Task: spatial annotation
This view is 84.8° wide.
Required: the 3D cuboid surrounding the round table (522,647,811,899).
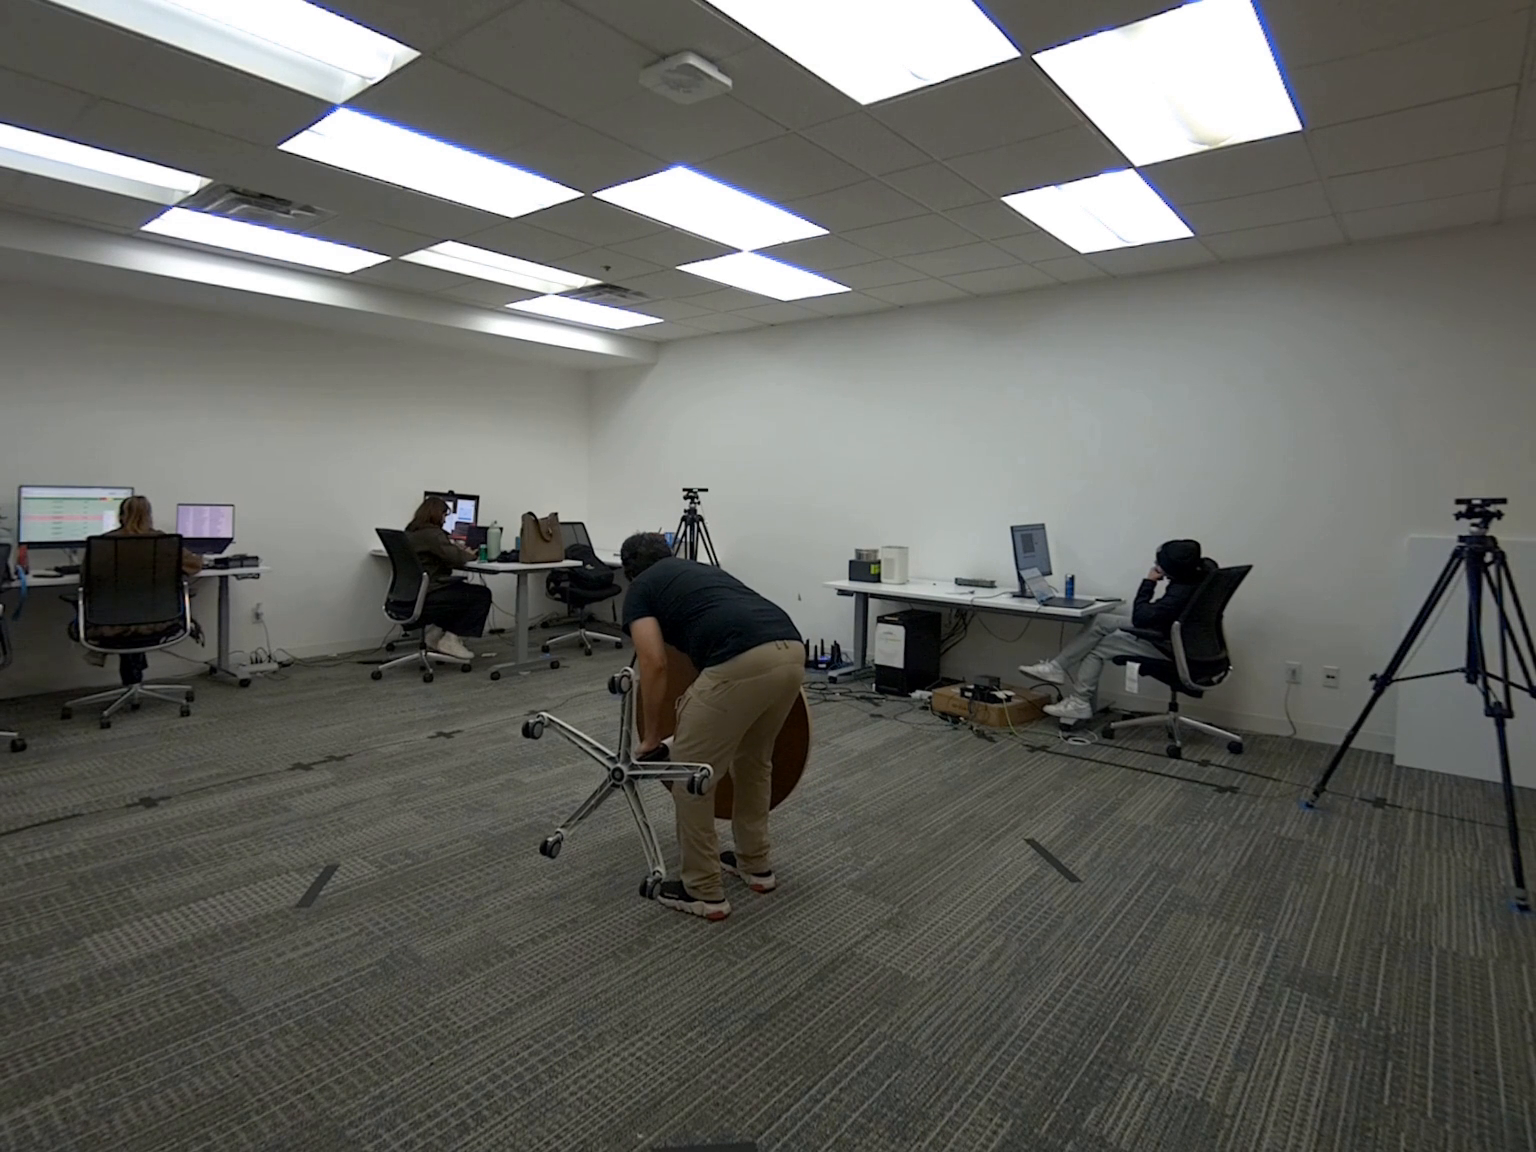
[{"bbox_3d":[-0.361,0.596,2.977,0.806,0.782,0.768,3,5,26],"label":"round table"}]
